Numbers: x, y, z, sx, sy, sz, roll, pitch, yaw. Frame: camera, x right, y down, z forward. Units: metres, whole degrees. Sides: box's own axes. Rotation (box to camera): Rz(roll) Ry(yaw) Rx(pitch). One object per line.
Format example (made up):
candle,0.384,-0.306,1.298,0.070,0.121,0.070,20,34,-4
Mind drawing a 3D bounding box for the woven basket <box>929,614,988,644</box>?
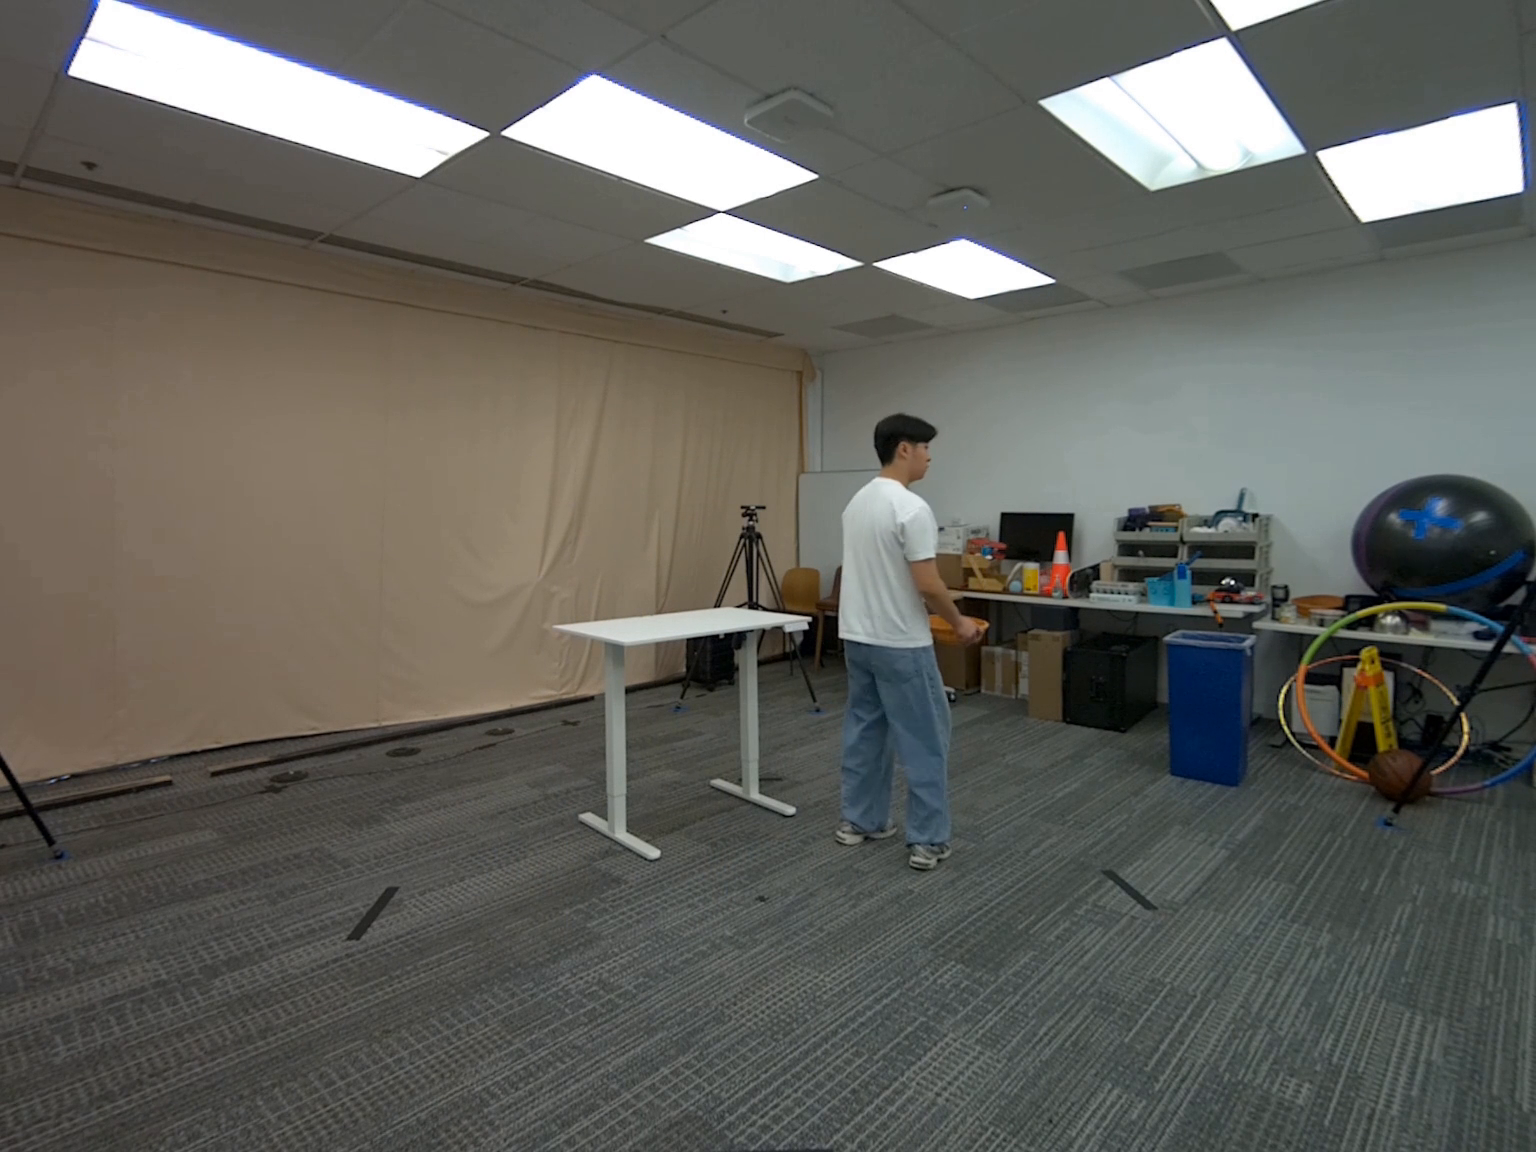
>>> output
woven basket,0.736,0.223,3.464,0.246,0.073,0.360,-5,7,-26
